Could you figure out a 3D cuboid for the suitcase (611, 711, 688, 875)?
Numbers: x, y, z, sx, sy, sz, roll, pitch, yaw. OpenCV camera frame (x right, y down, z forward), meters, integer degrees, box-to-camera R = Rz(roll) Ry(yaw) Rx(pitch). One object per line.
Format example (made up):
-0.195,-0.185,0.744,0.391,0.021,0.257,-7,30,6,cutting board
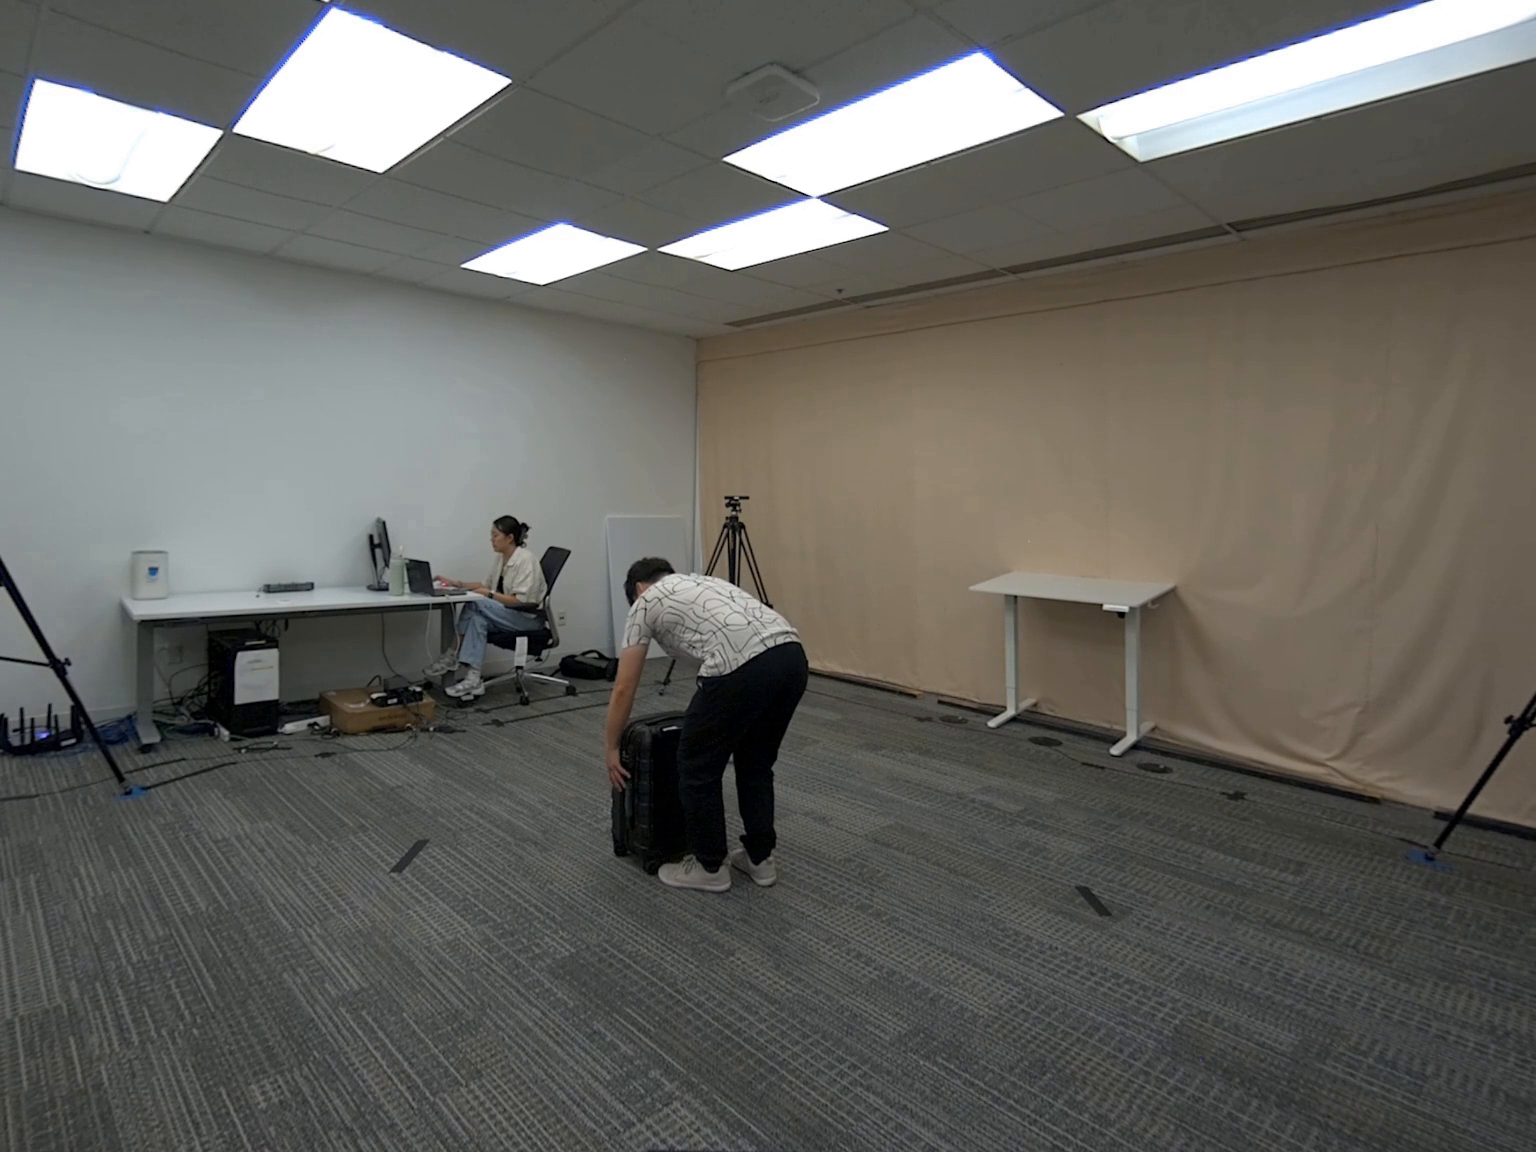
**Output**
-0.417,0.809,3.257,0.367,0.548,0.254,-3,5,-39,suitcase
